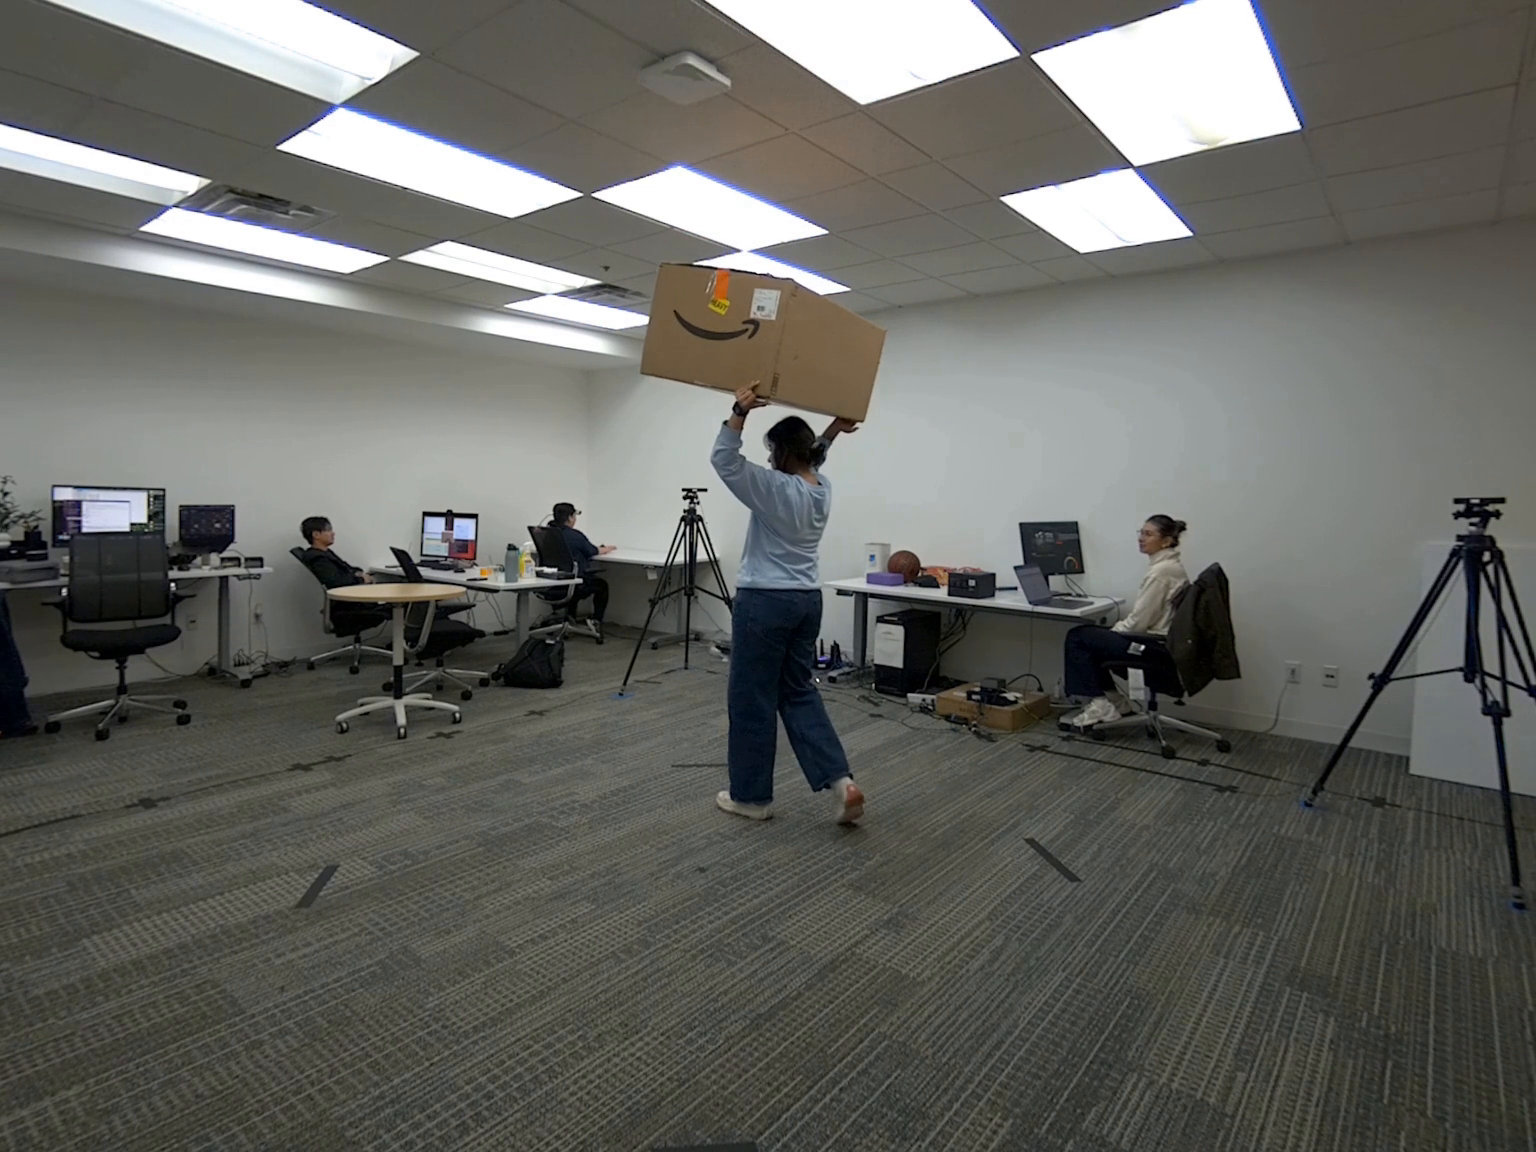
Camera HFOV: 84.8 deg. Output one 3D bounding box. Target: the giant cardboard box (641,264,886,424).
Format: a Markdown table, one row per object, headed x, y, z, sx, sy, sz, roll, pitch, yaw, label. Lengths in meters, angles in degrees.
| x | y | z | sx | sy | sz | roll | pitch | yaw | label |
| --- | --- | --- | --- | --- | --- | --- | --- | --- | --- |
| 0.009 | -0.945 | 3.554 | 0.596 | 0.423 | 1.002 | 16 | 12 | 25 | giant cardboard box |
